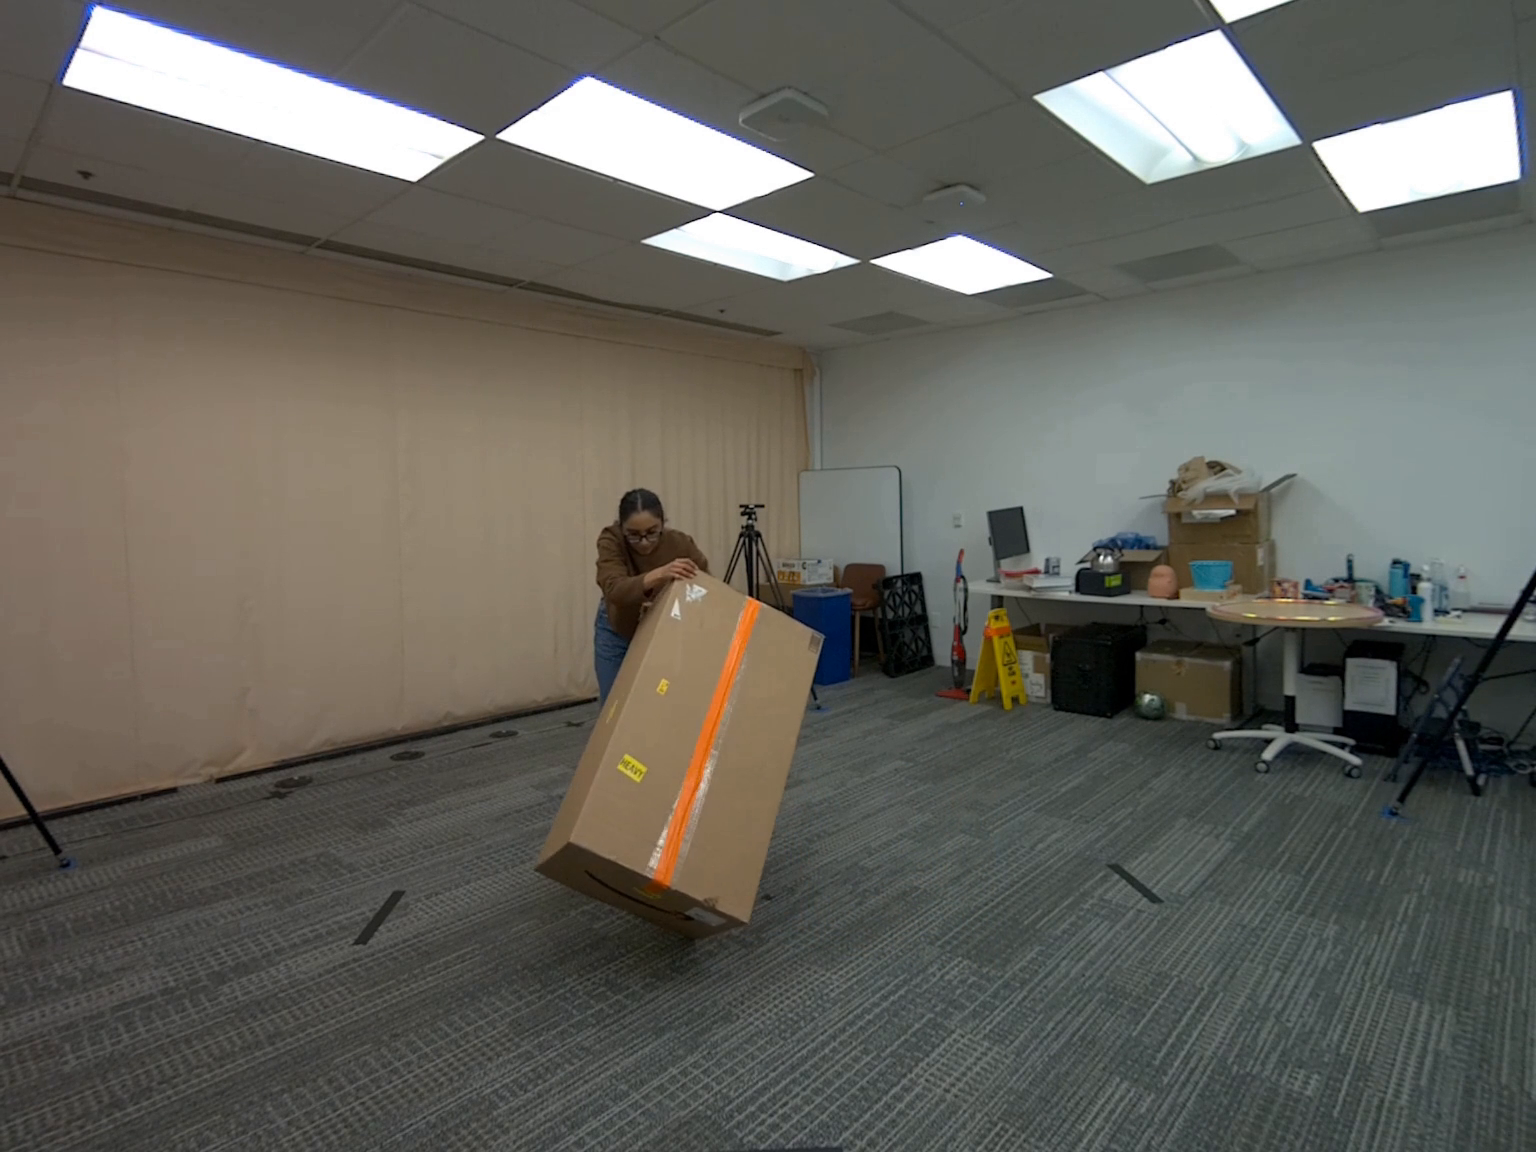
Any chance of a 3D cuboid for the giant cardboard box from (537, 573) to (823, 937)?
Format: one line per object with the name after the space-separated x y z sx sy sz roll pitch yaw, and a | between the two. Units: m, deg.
-0.260 0.571 2.812 0.576 1.033 0.450 28 -38 -12 | giant cardboard box
